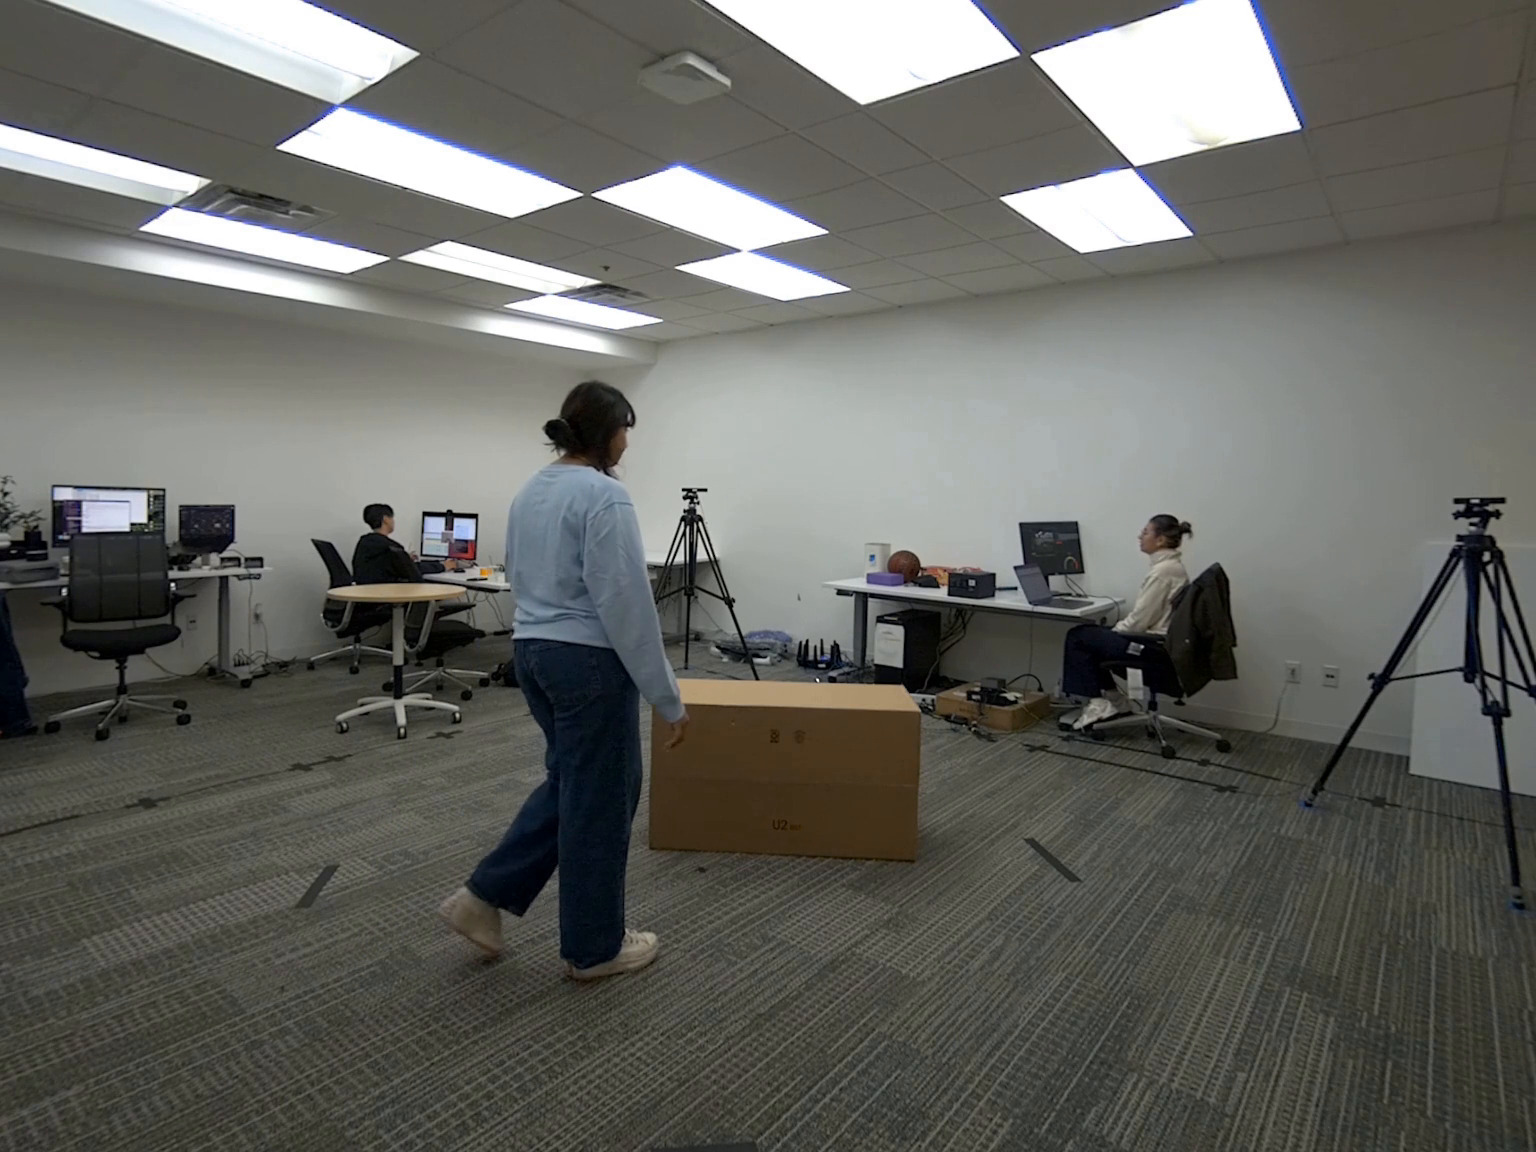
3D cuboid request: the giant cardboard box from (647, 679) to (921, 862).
[{"bbox_3d":[0.053,0.751,3.437,1.030,0.576,0.425,1,3,3],"label":"giant cardboard box"}]
